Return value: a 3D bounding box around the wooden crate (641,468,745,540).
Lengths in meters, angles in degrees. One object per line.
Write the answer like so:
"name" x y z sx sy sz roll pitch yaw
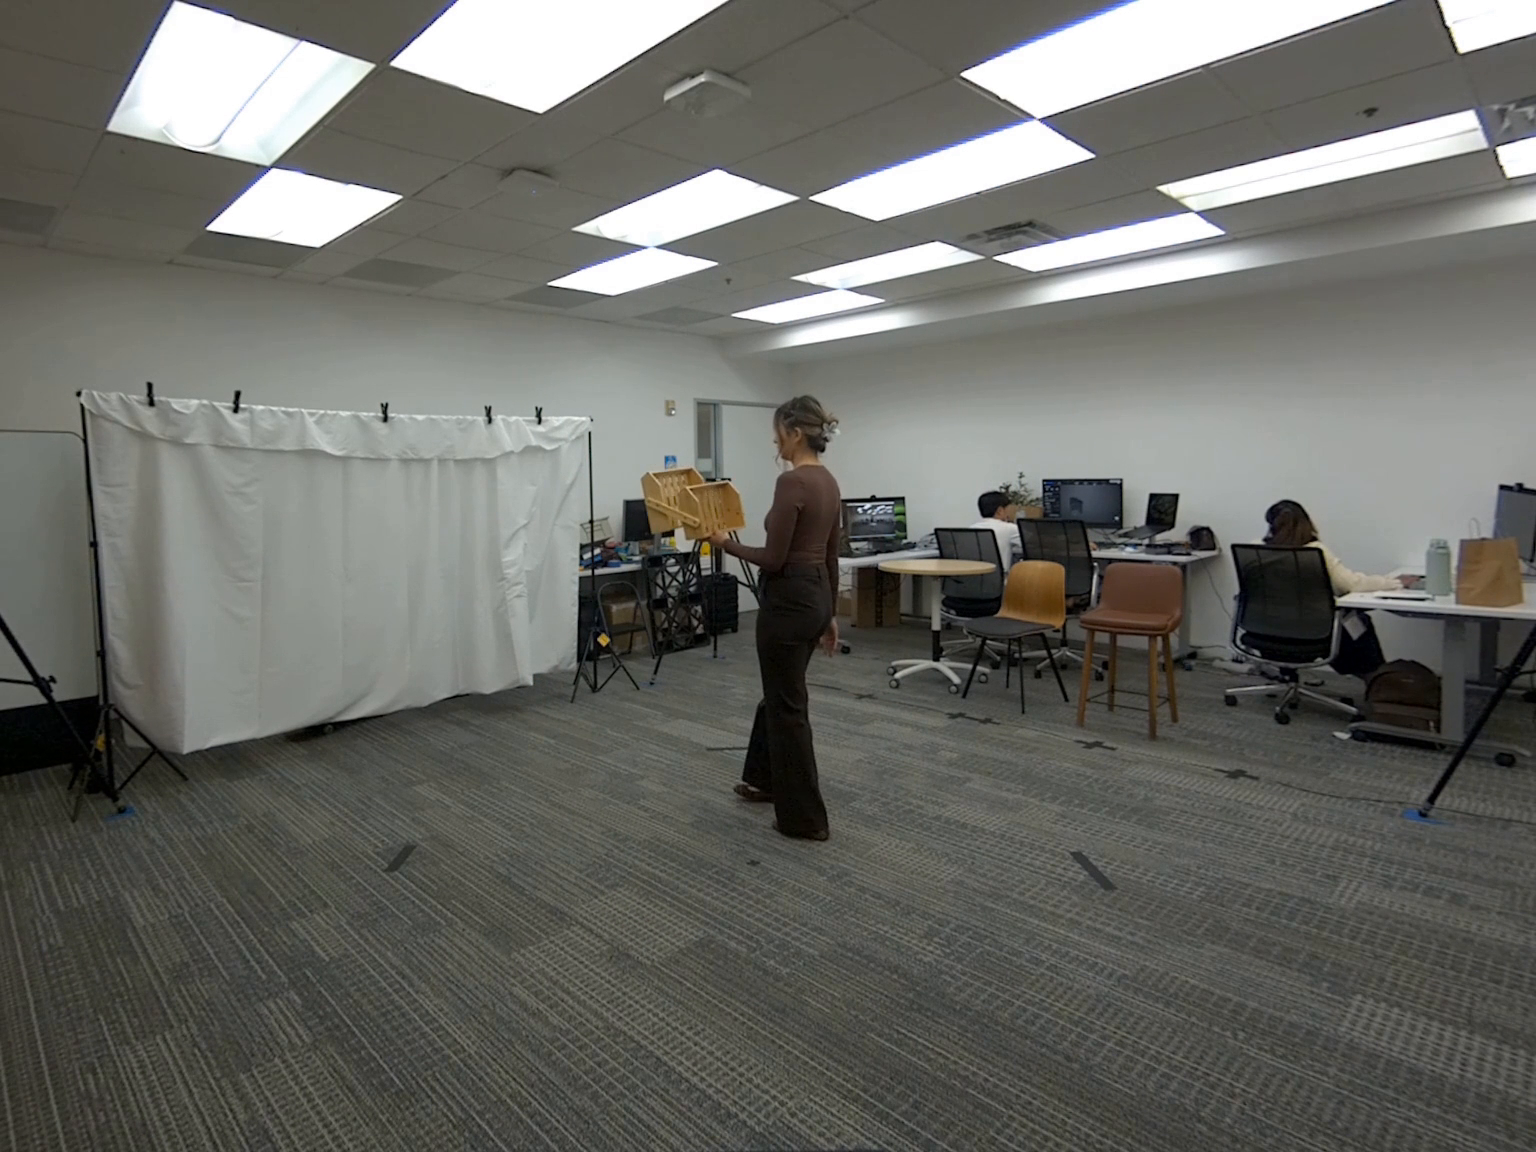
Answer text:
"wooden crate" -0.298 -0.314 3.532 0.280 0.301 0.318 -8 5 35
